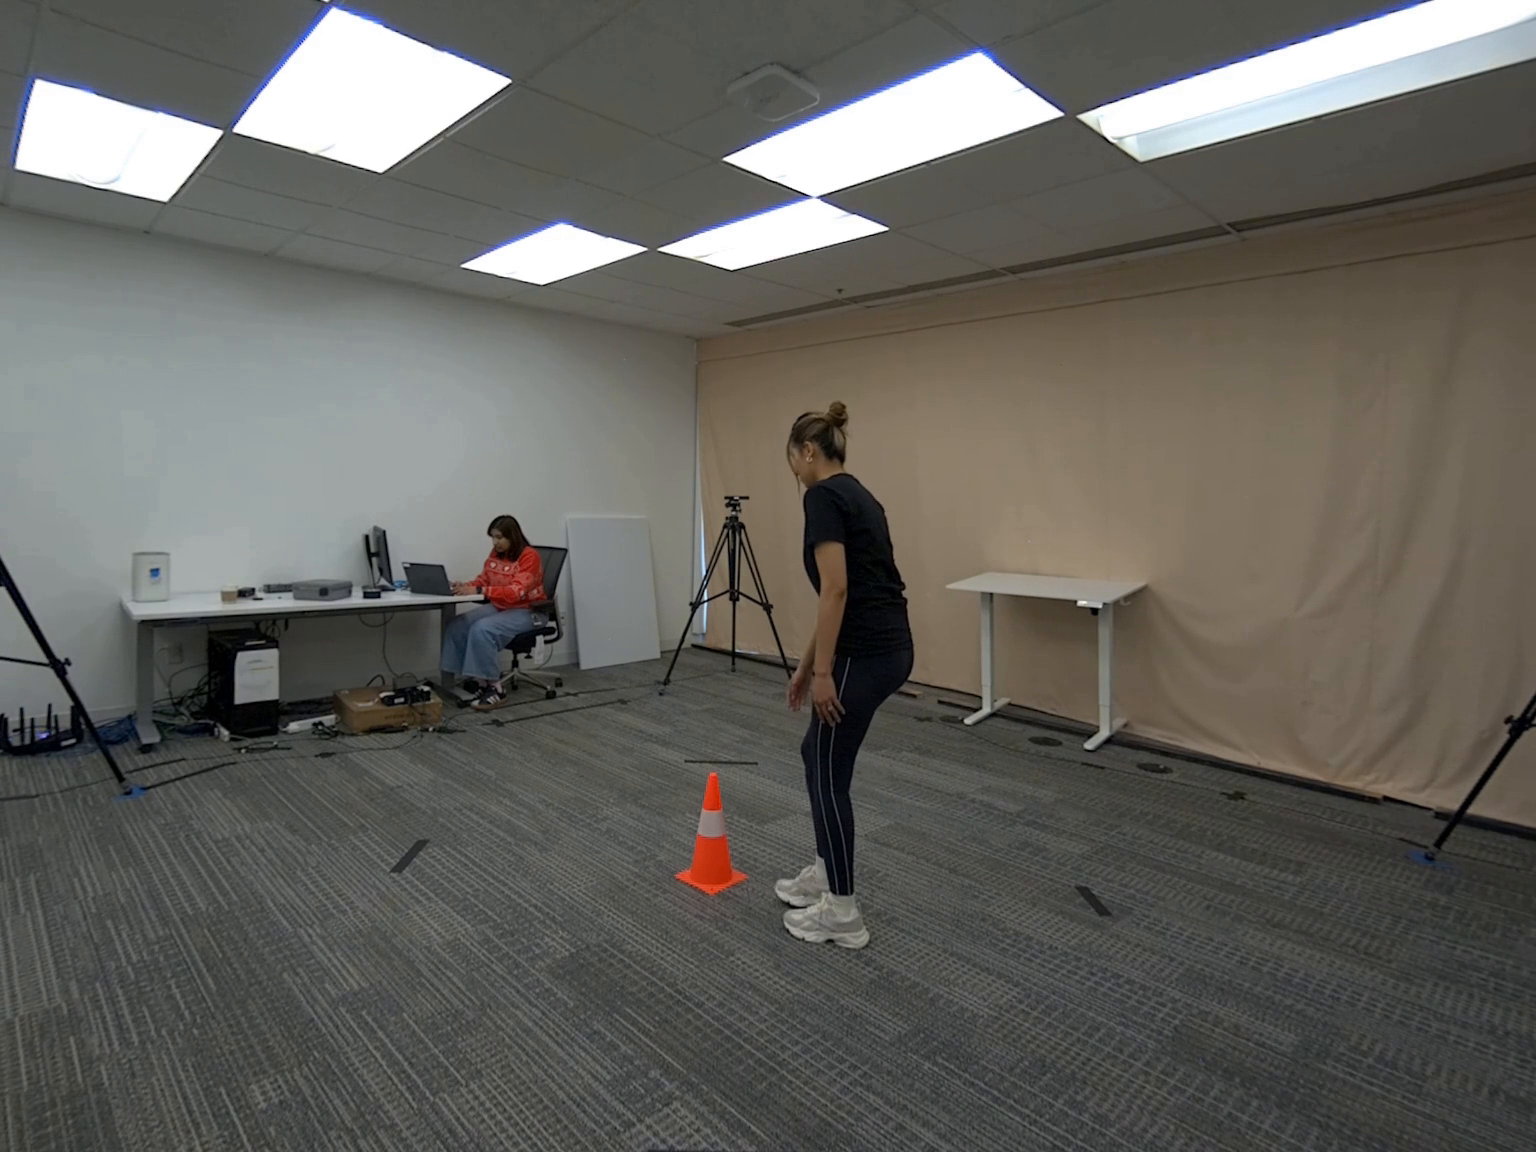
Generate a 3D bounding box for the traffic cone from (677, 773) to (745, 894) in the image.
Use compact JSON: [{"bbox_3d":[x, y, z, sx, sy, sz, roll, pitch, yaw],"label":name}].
[{"bbox_3d":[-0.214,0.921,3.082,0.210,0.383,0.199,2,2,40],"label":"traffic cone"}]
